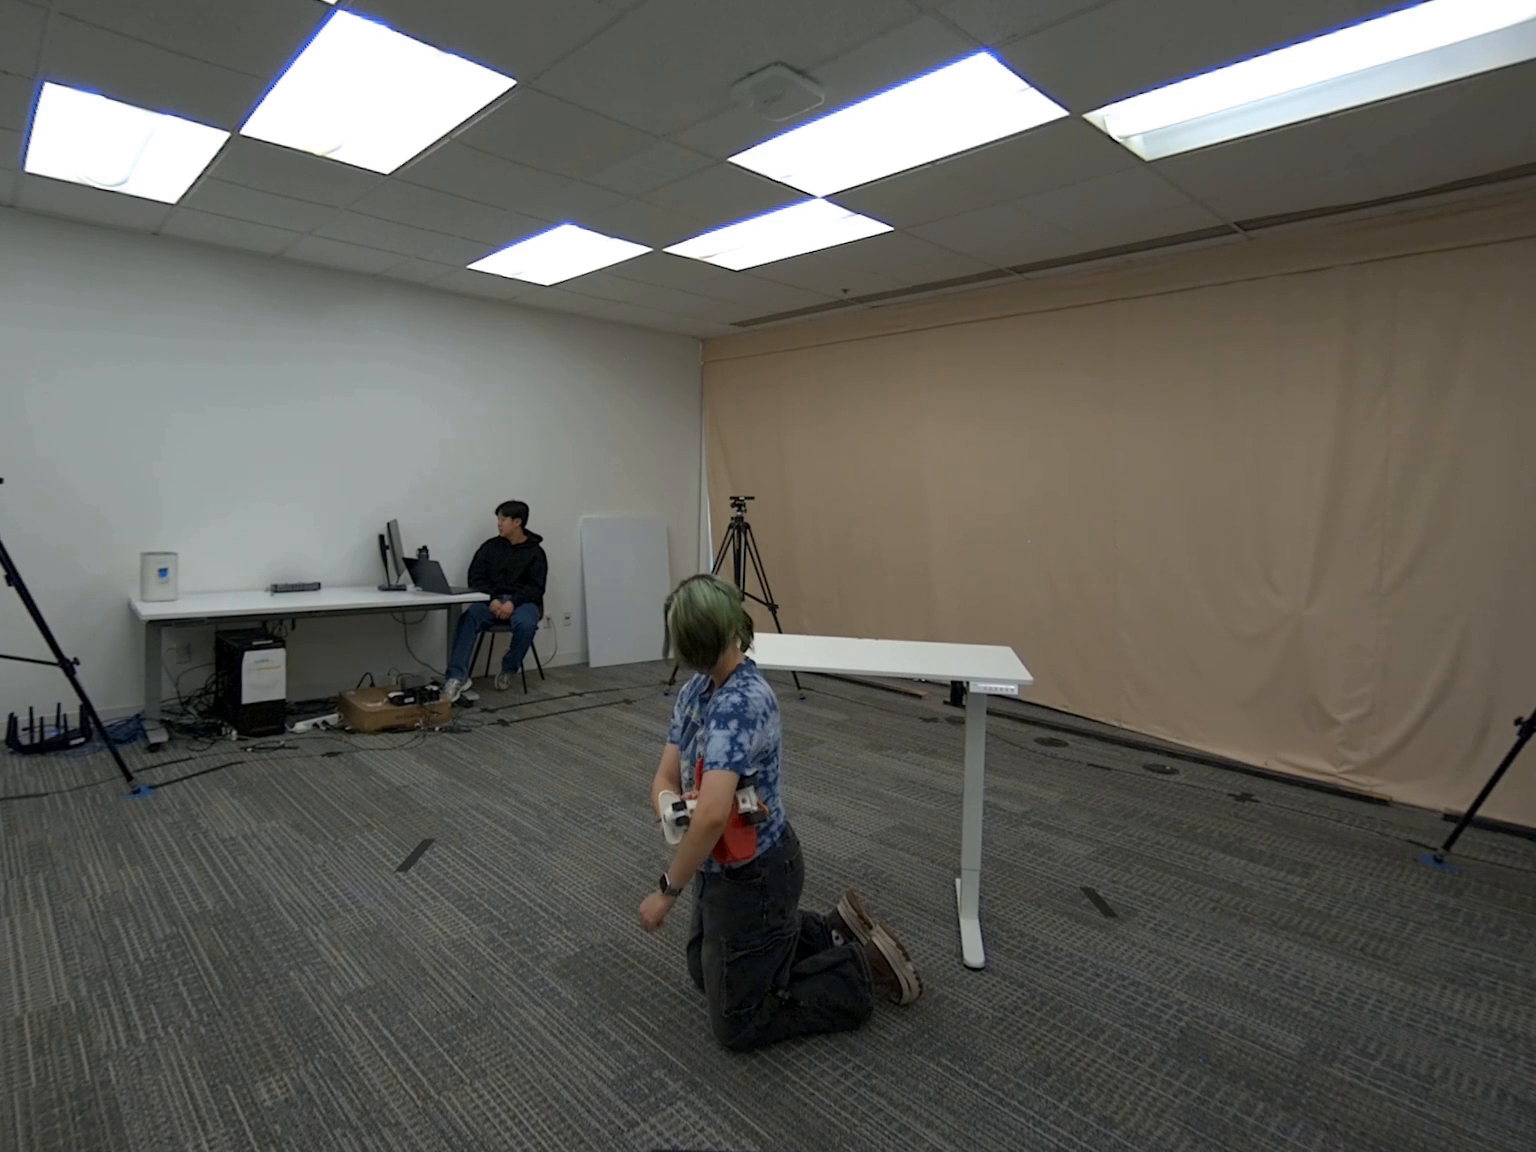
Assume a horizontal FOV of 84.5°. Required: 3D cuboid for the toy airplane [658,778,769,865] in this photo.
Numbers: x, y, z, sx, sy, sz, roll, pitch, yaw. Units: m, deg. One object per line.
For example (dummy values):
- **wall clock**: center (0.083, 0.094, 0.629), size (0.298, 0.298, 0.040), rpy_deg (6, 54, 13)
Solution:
- **toy airplane**: center (-0.153, 0.545, 2.007), size (0.256, 0.254, 0.156), rpy_deg (18, -27, -11)
